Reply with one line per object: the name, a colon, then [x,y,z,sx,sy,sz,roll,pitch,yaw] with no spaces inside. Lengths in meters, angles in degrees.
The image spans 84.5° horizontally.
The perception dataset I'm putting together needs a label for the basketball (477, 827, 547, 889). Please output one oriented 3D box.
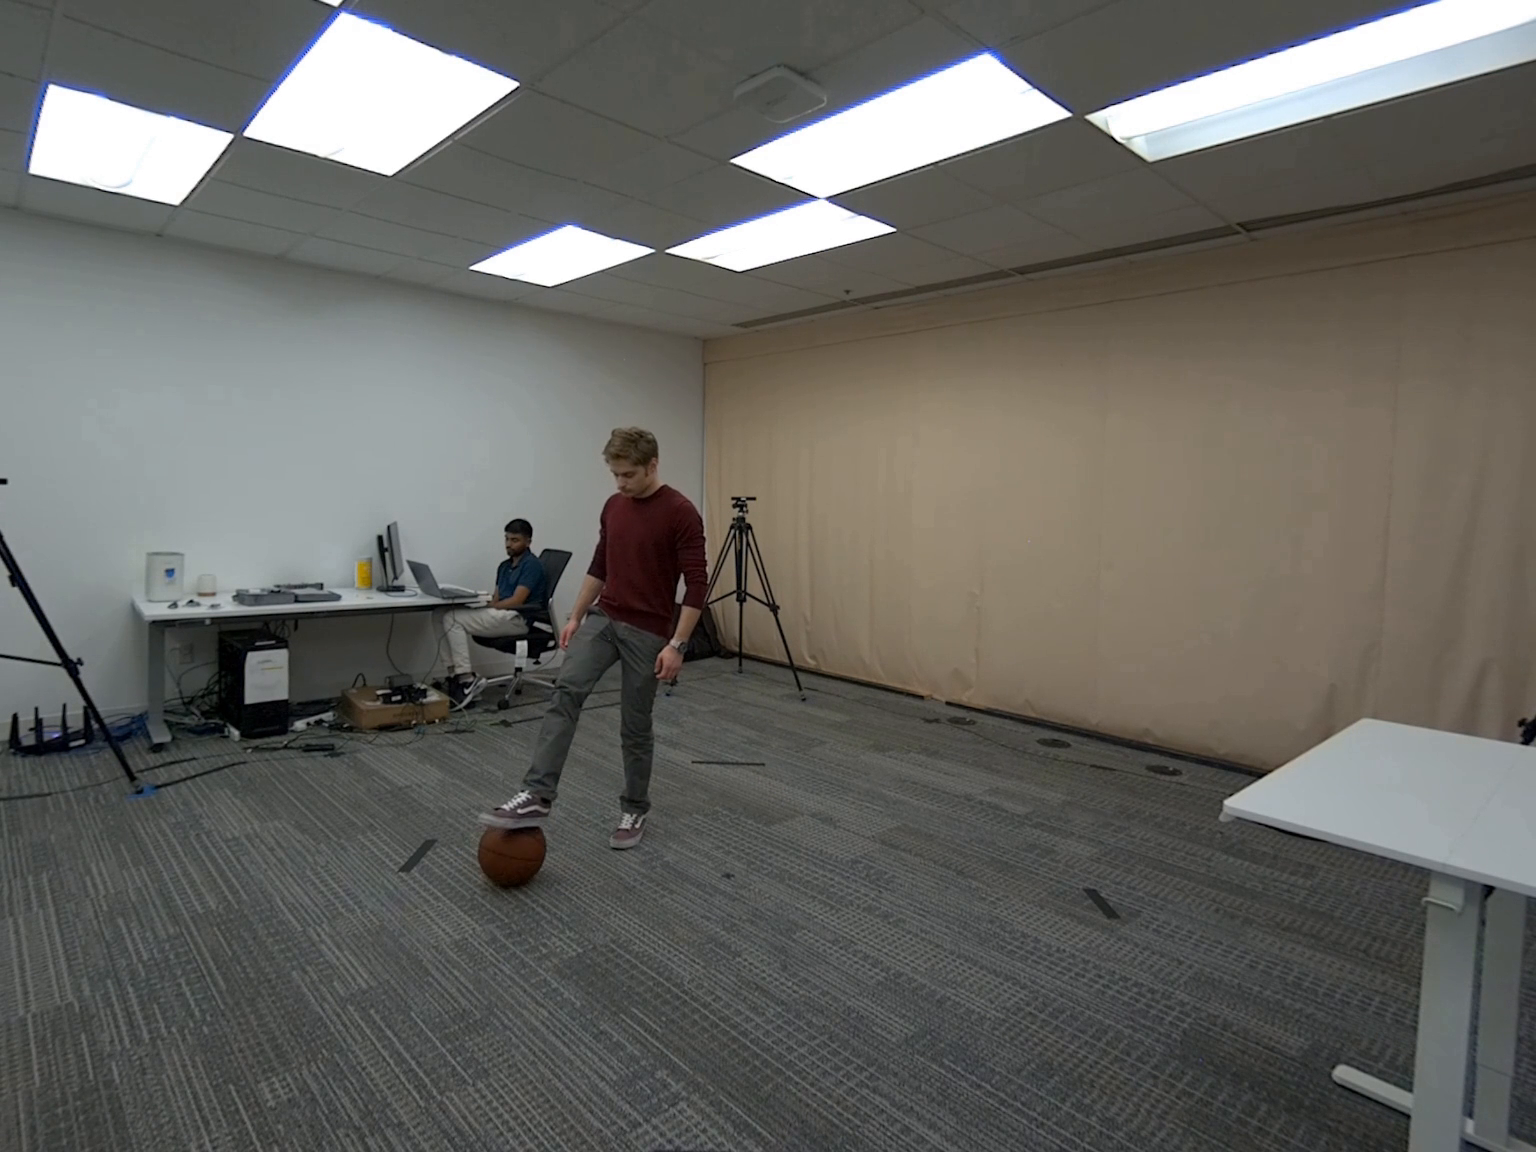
basketball: [-0.923,0.982,3.006,0.236,0.235,0.237,1,4,-1]
